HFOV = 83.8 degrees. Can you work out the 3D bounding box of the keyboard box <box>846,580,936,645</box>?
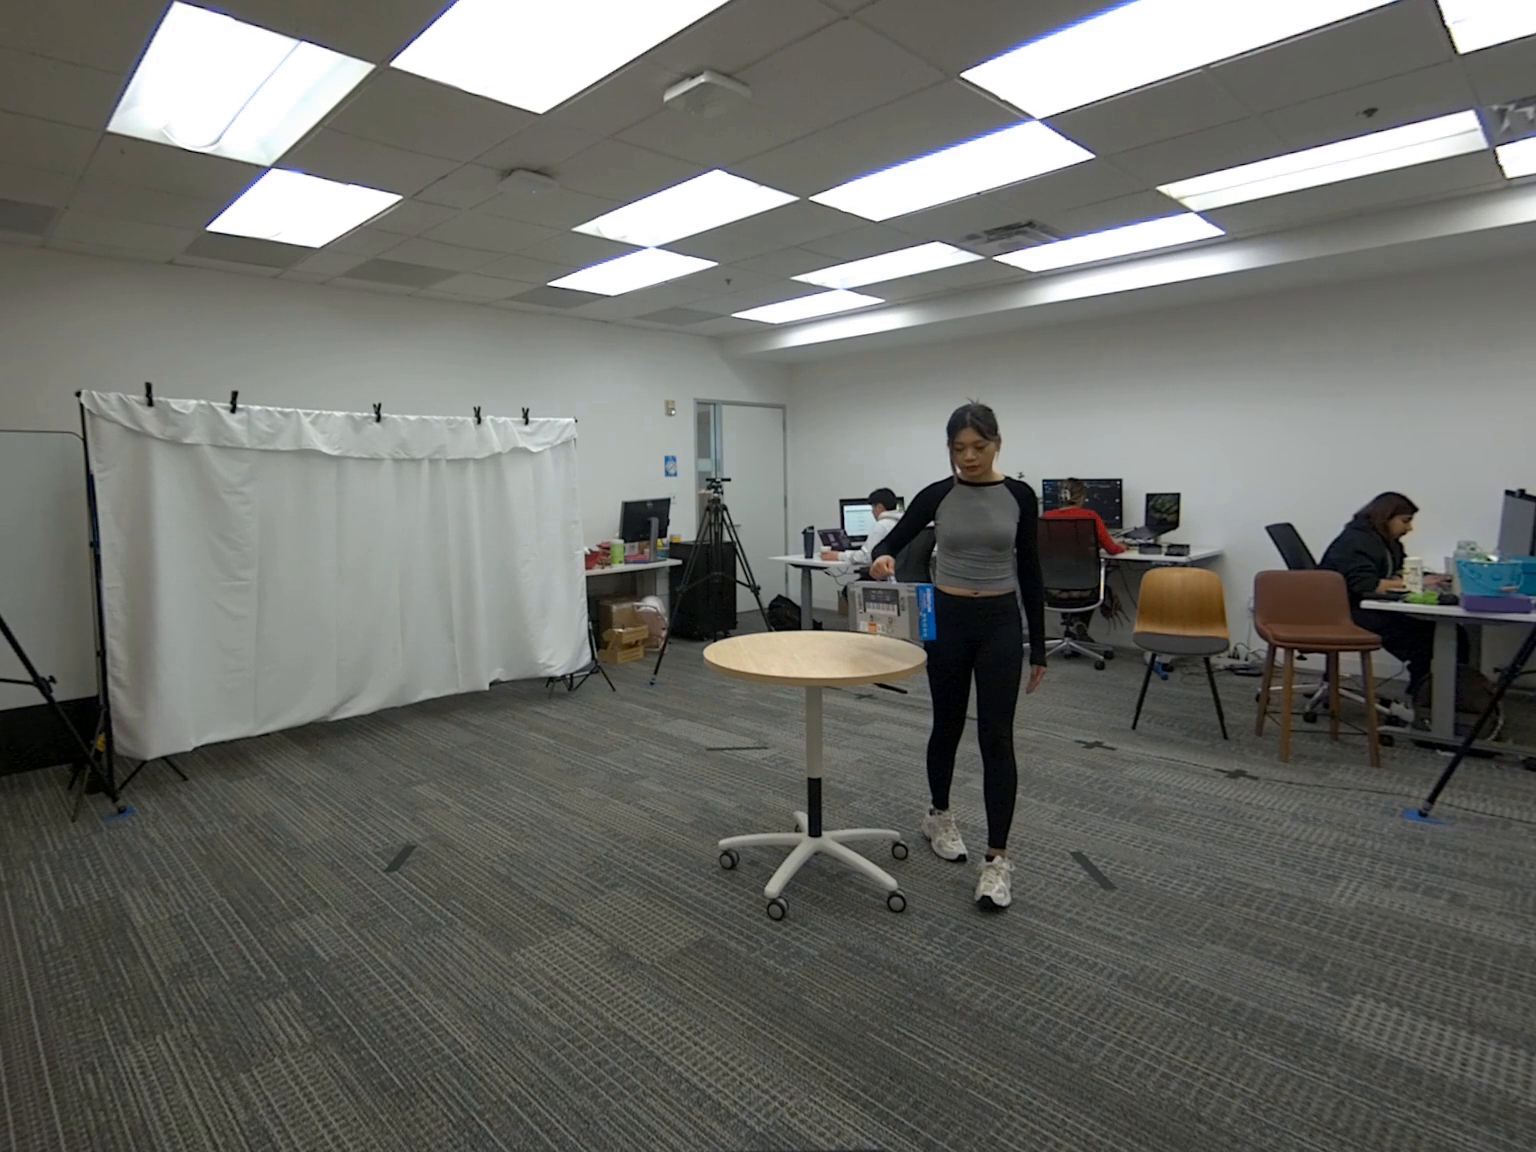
[{"bbox_3d":[0.398,0.112,2.806,0.058,0.176,0.445,-3,2,-22],"label":"keyboard box"}]
